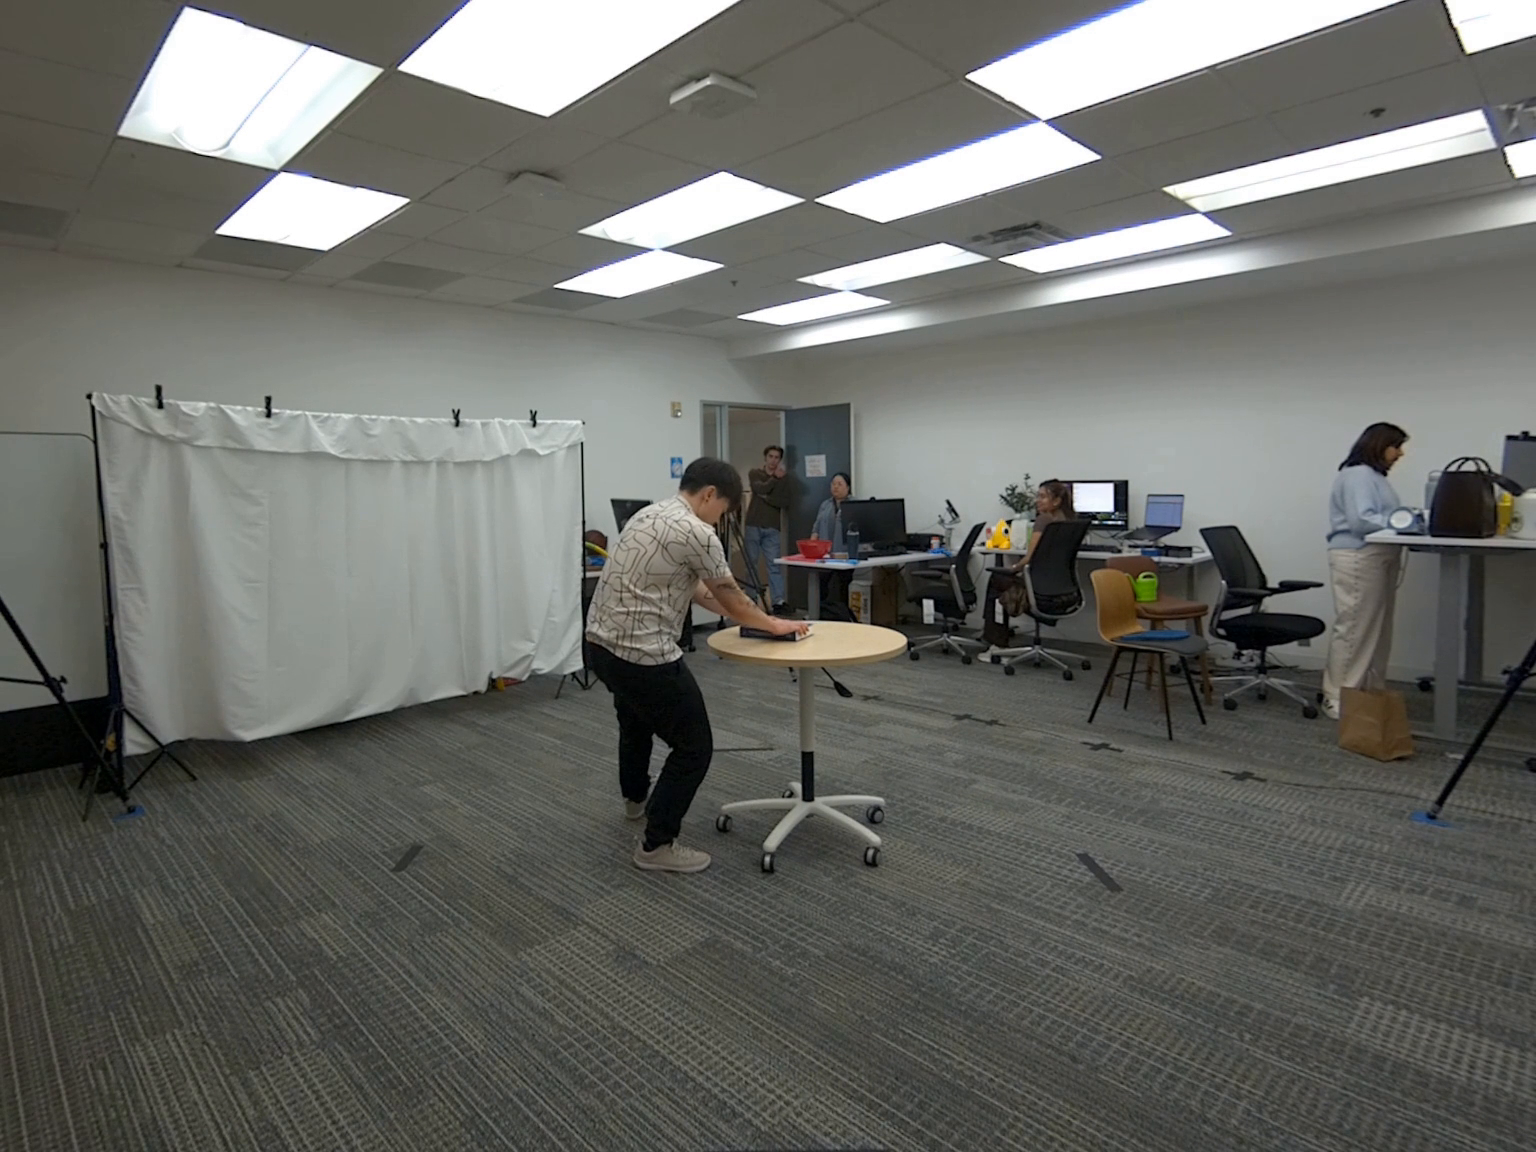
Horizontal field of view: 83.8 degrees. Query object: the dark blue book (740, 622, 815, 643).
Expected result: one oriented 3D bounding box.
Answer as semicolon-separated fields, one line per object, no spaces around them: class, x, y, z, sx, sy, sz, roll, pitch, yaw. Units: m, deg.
dark blue book;0.037;0.215;3.364;0.251;0.045;0.160;1;8;26
